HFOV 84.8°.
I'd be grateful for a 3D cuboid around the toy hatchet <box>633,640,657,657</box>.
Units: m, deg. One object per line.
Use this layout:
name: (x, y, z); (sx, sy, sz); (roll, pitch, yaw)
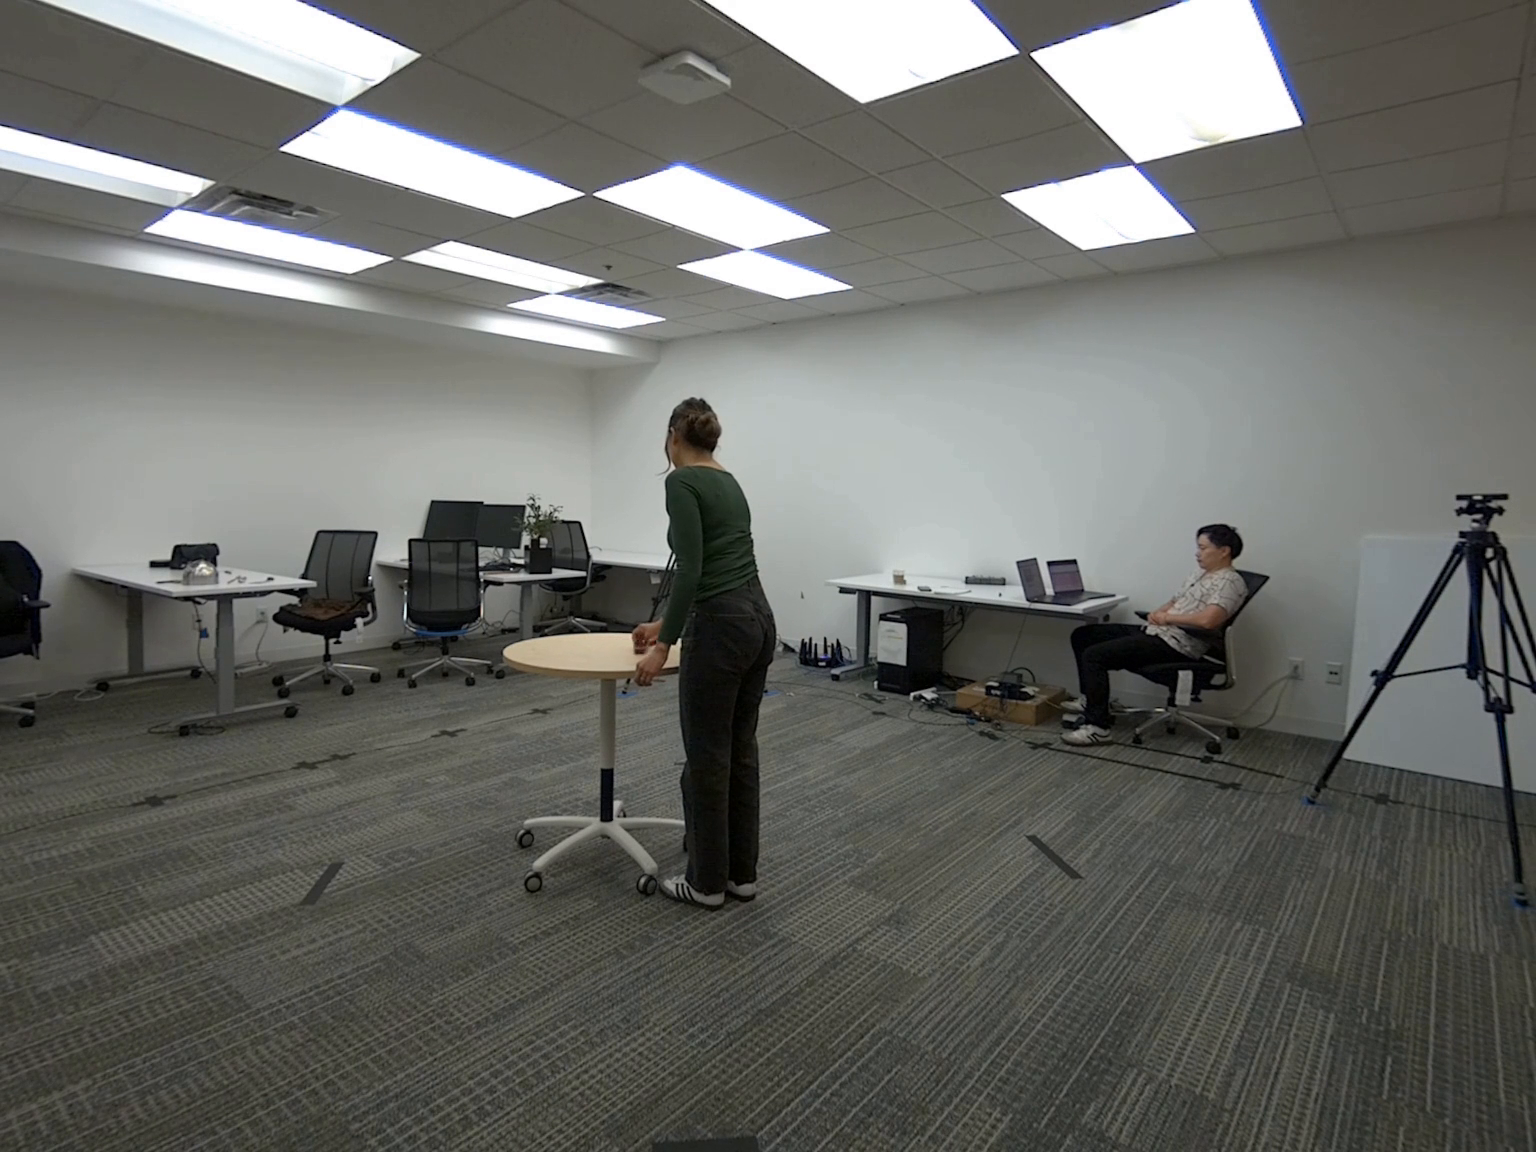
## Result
toy hatchet: (-0.445, 0.260, 3.213); (0.131, 0.029, 0.272); (1, 9, -3)
